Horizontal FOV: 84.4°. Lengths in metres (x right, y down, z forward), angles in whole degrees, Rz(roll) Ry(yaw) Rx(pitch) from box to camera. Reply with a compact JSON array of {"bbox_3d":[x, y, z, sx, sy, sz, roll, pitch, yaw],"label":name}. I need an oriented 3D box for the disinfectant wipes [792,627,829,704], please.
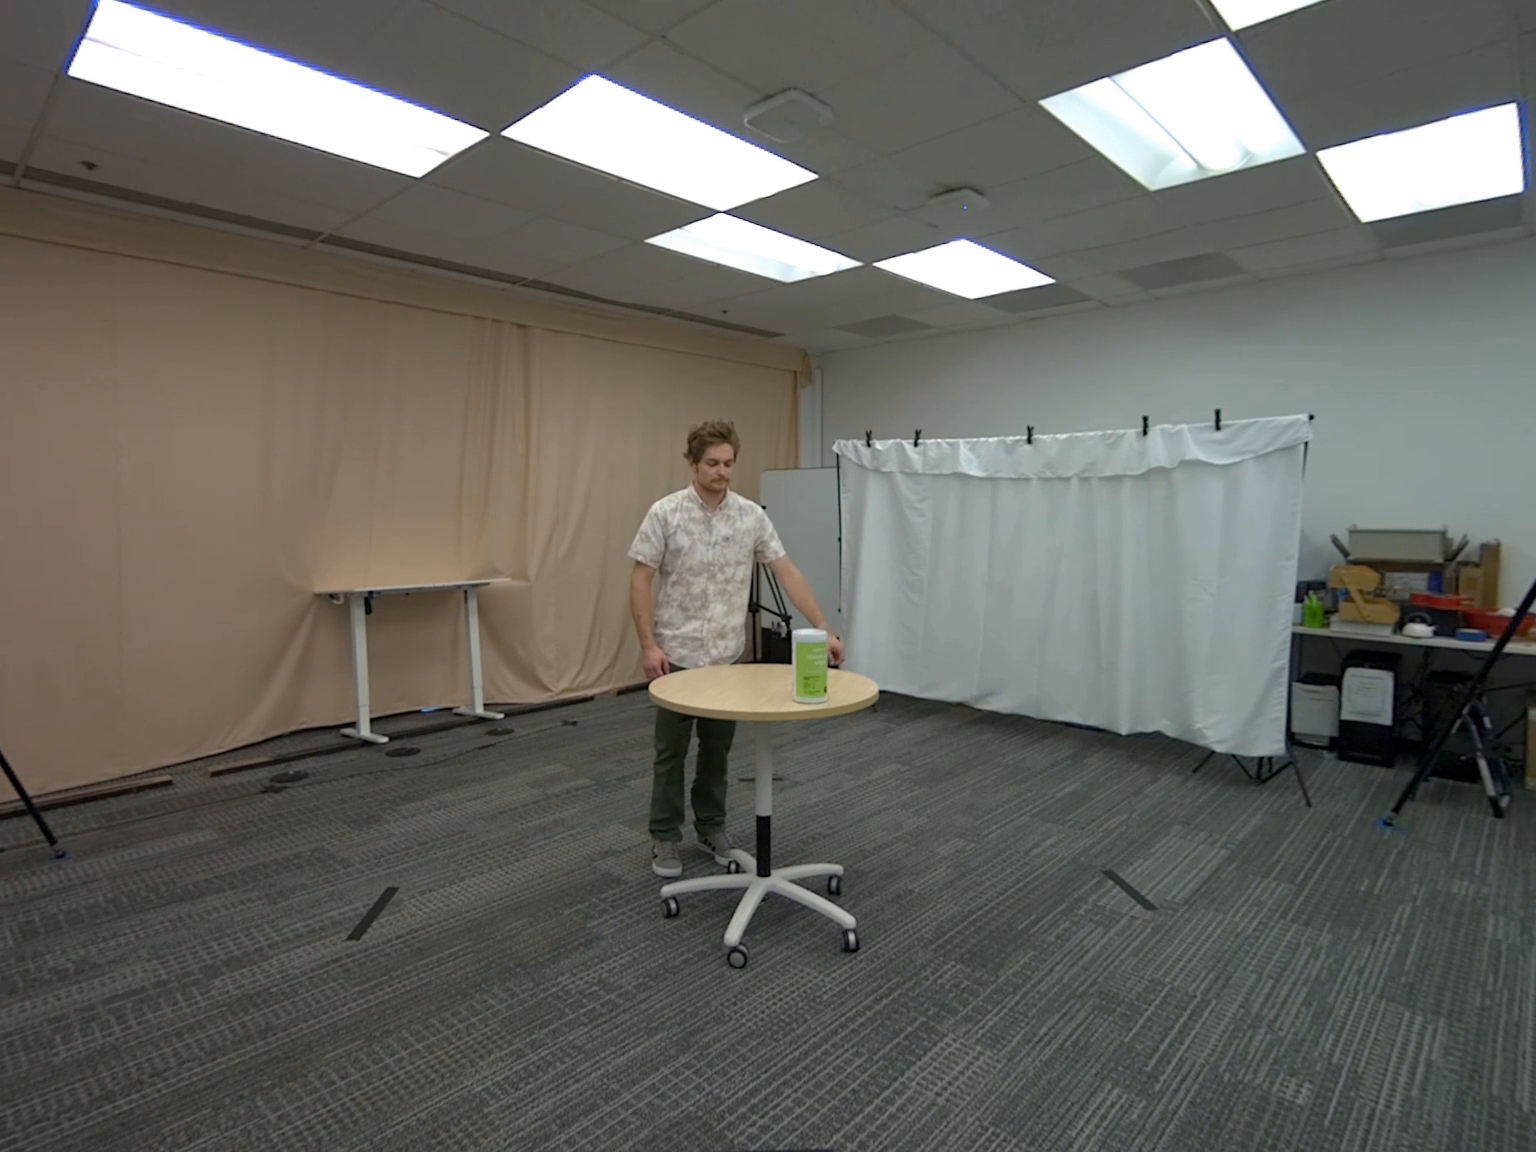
[{"bbox_3d":[0.128,0.279,2.582,0.117,0.217,0.118,1,4,-2],"label":"disinfectant wipes"}]
